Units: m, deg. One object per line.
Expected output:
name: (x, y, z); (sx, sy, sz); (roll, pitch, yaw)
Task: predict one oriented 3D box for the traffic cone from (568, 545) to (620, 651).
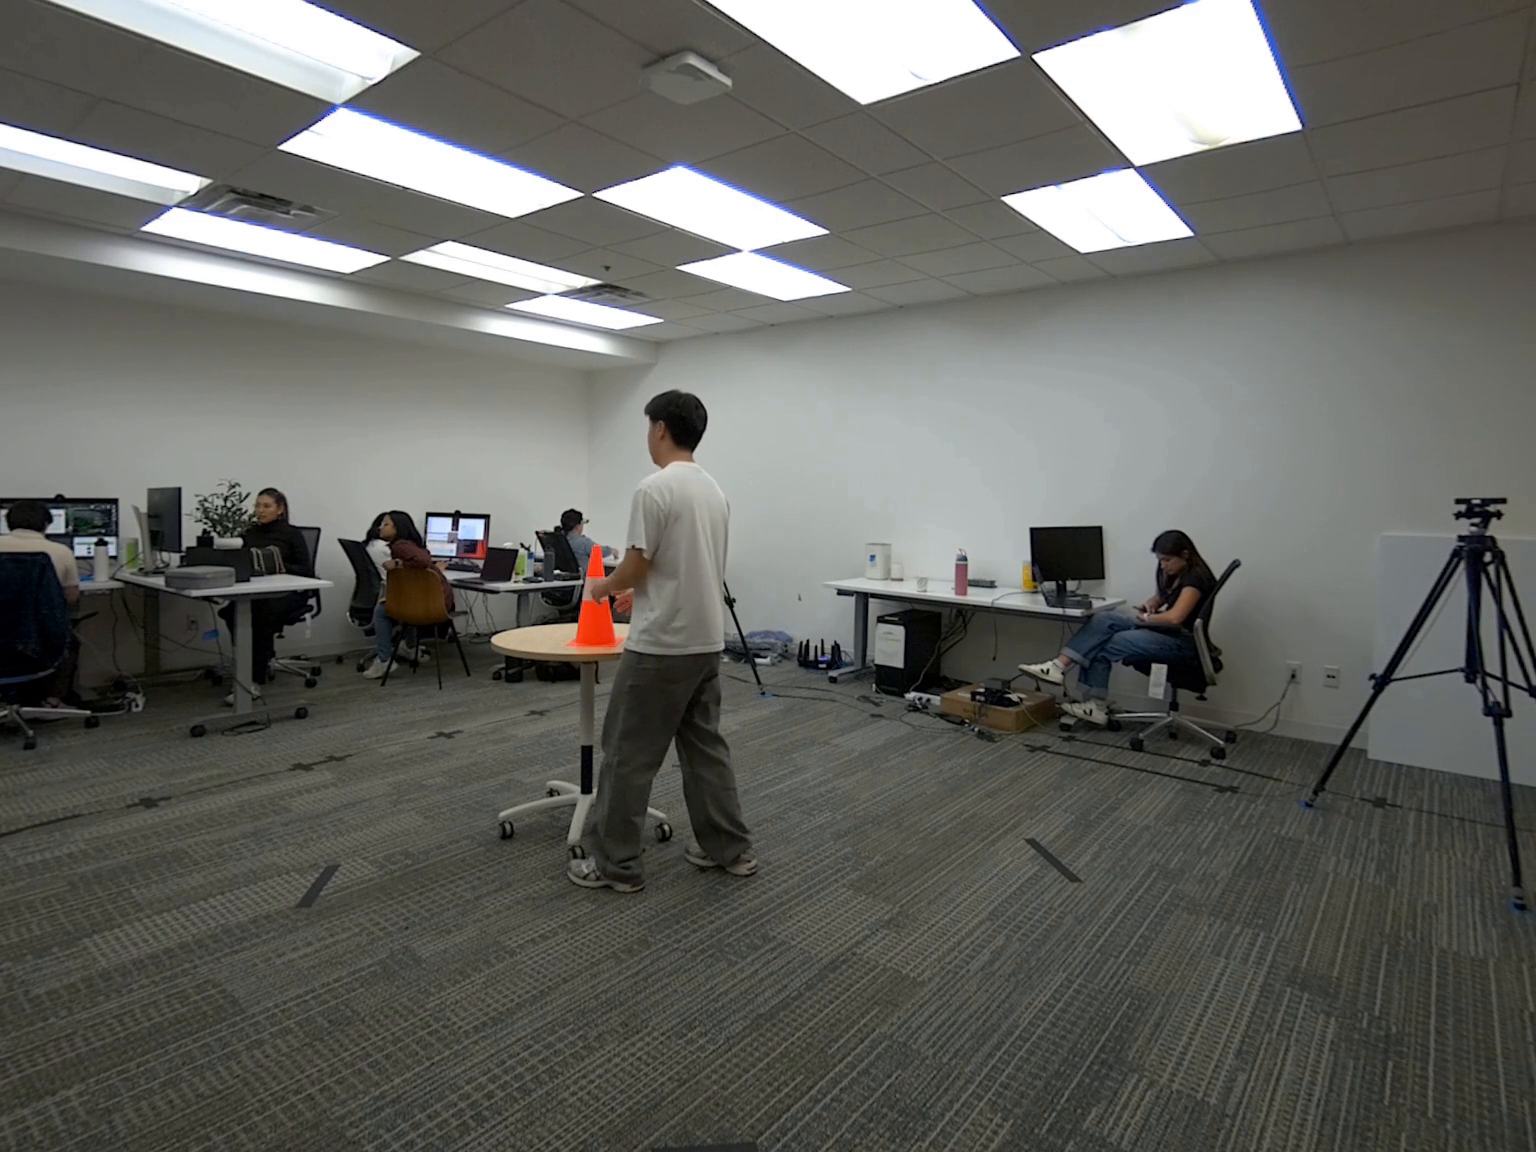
traffic cone: (-0.673, 0.068, 3.329); (0.205, 0.382, 0.204); (2, 3, 1)
